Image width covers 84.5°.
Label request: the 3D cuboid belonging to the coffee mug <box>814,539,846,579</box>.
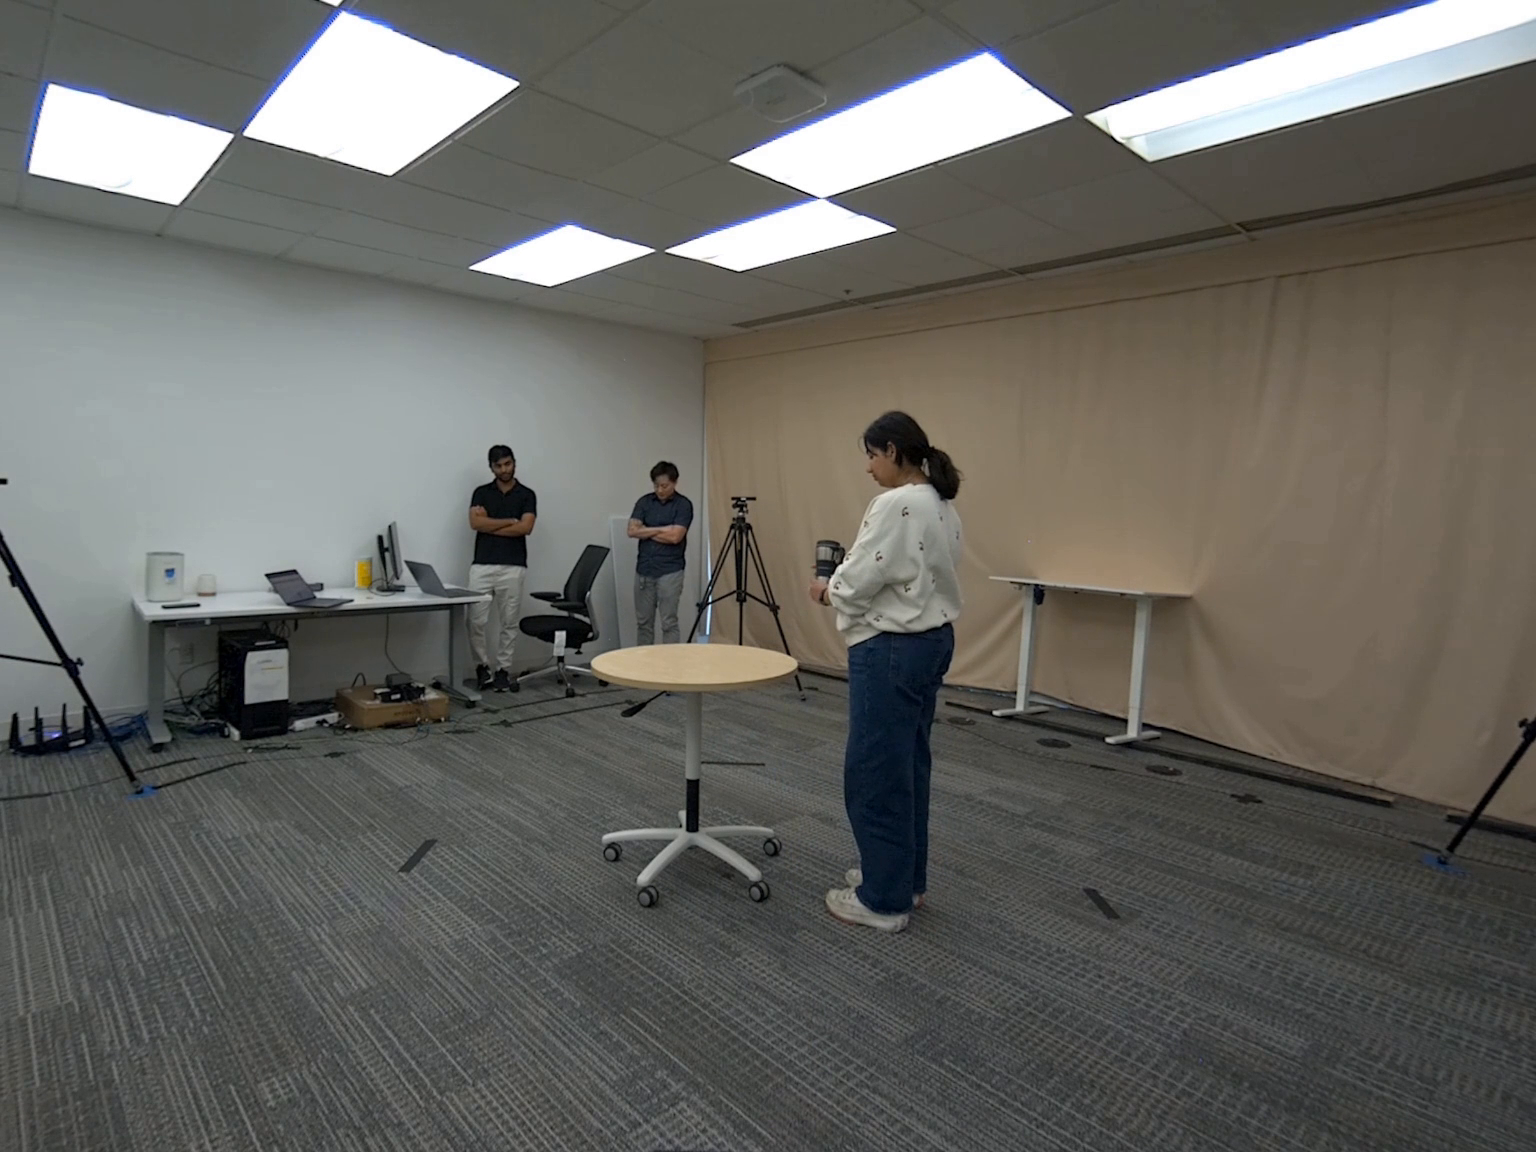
[{"bbox_3d":[0.219,-0.020,3.008,0.087,0.204,0.123,10,-12,-16],"label":"coffee mug"}]
